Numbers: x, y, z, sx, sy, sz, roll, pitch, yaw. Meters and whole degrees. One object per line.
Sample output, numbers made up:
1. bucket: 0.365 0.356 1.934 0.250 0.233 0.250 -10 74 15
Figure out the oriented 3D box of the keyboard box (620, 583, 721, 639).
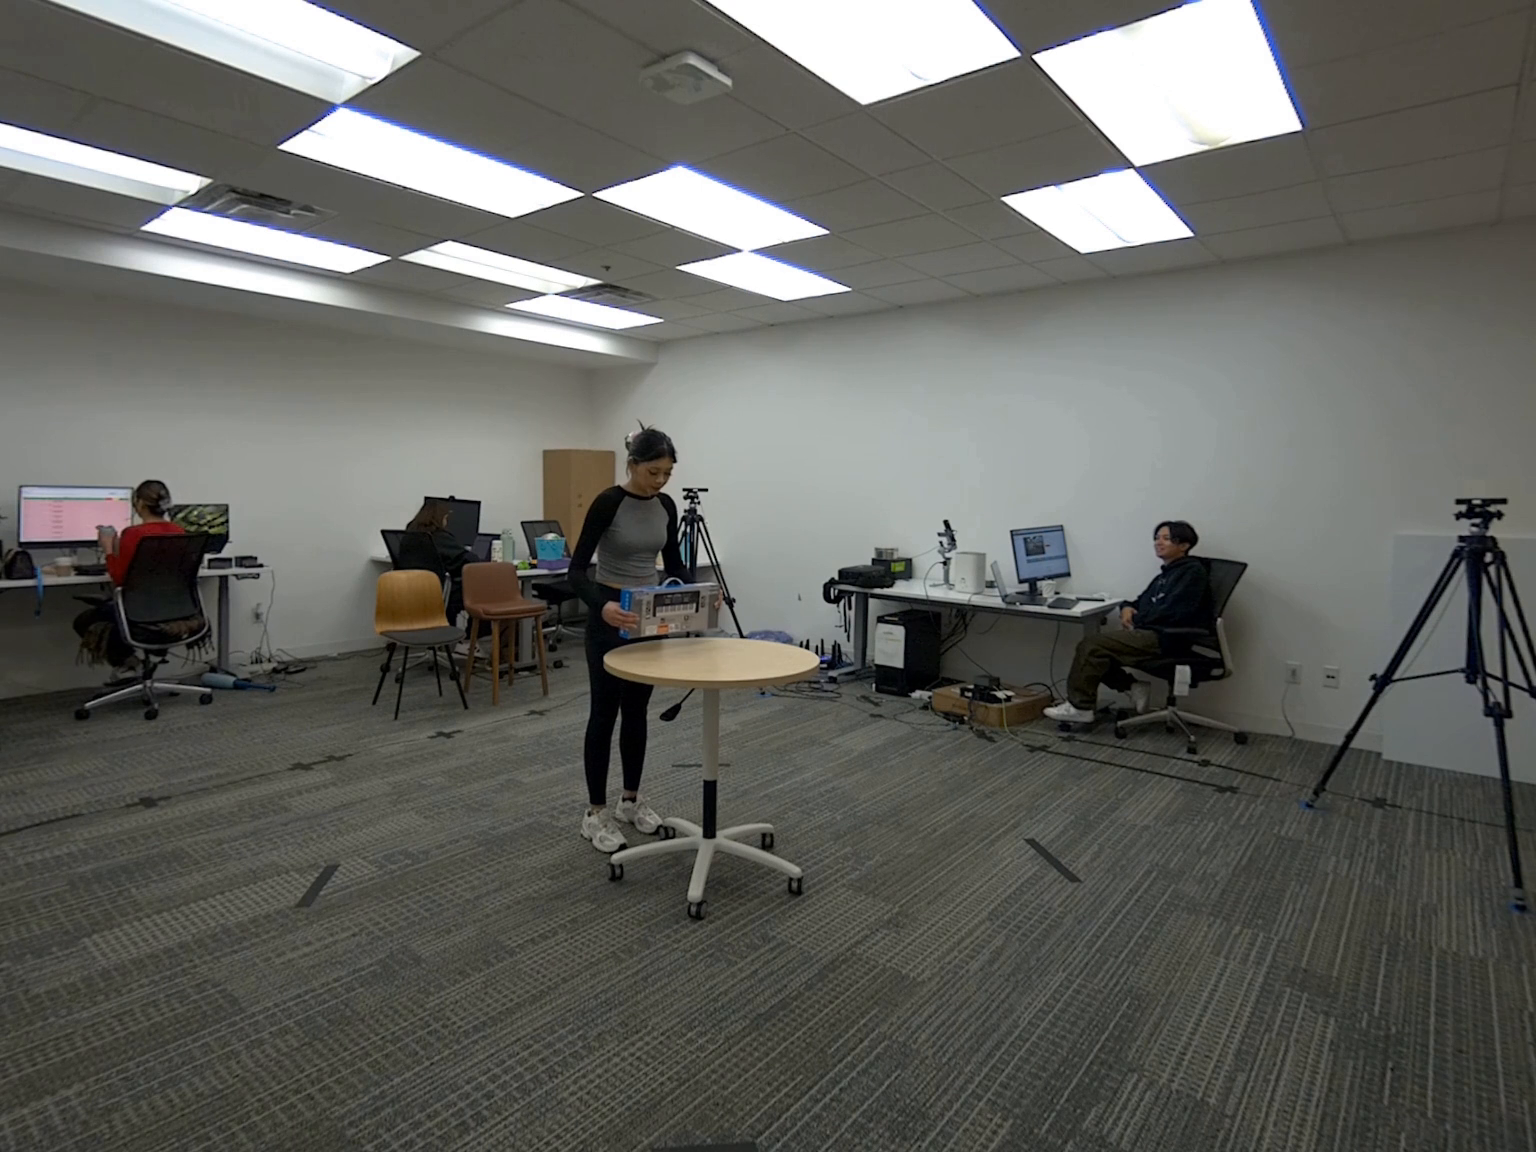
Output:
1. keyboard box: -0.373 0.124 3.176 0.423 0.175 0.061 -2 7 -44
